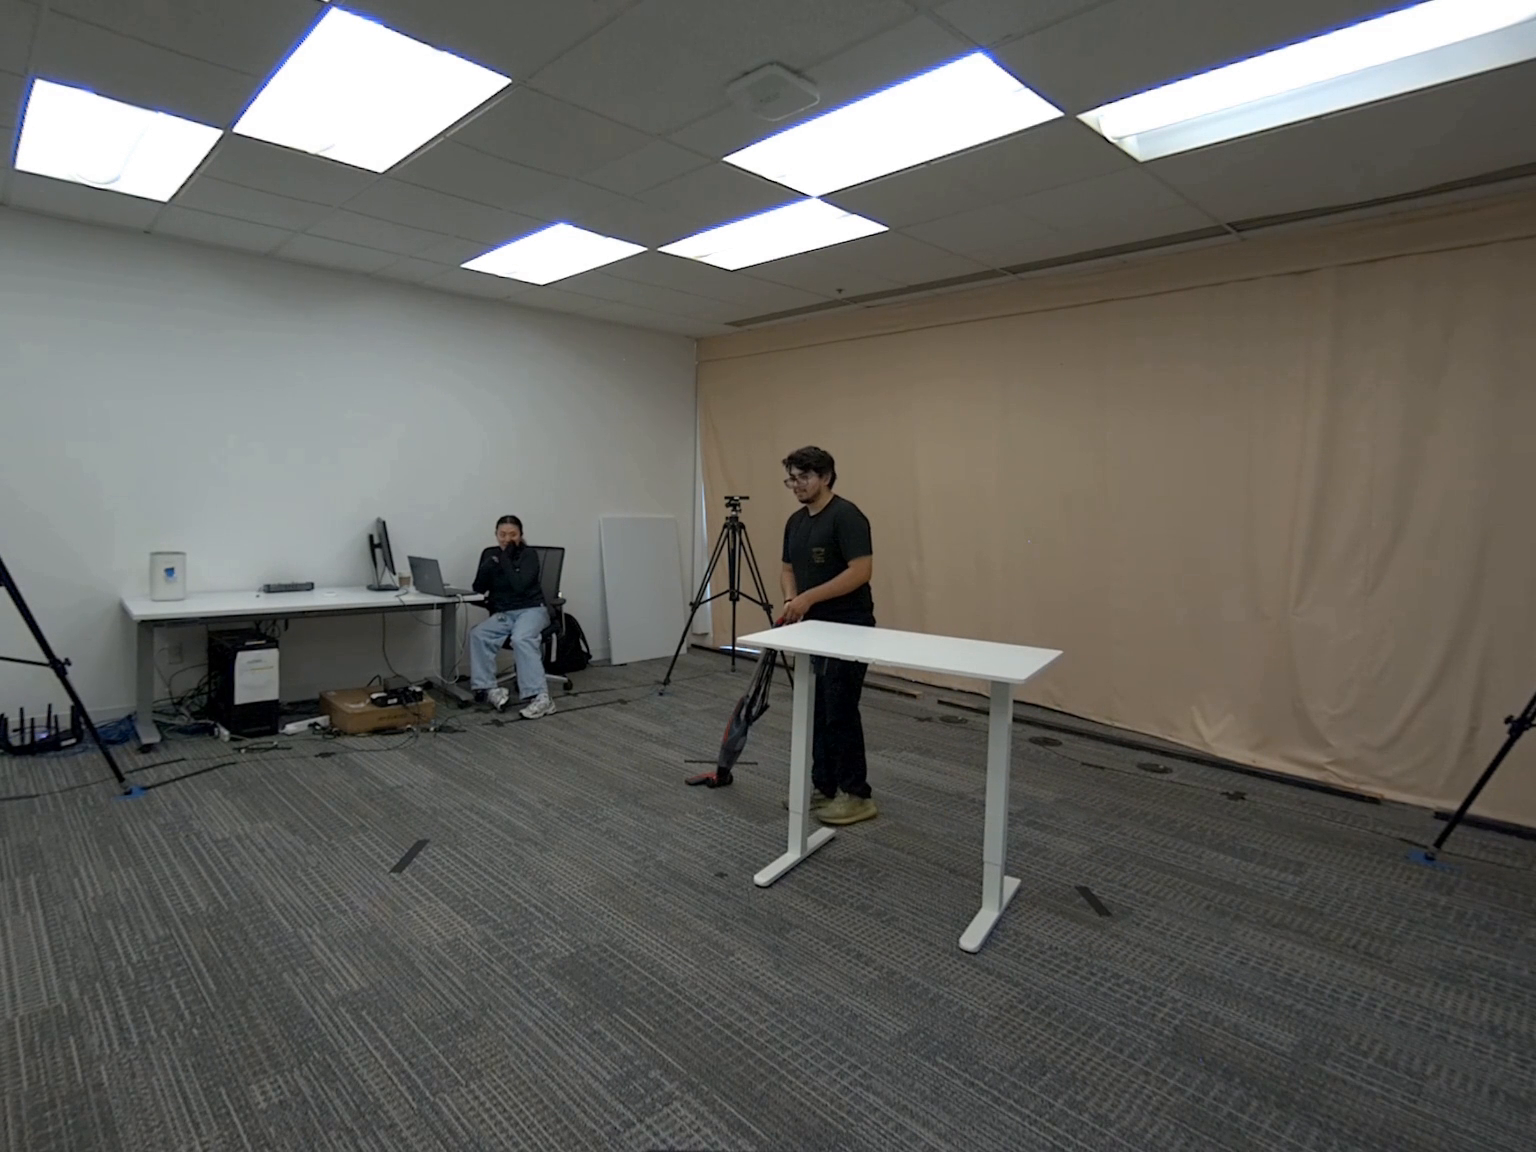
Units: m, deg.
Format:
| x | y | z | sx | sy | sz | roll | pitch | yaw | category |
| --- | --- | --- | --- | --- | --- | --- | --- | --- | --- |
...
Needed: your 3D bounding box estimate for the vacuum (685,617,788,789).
| x | y | z | sx | sy | sz | roll | pitch | yaw | category |
| --- | --- | --- | --- | --- | --- | --- | --- | --- | --- |
| -0.091 | 0.580 | 3.875 | 0.148 | 1.040 | 0.248 | 41 | 33 | 27 | vacuum |
